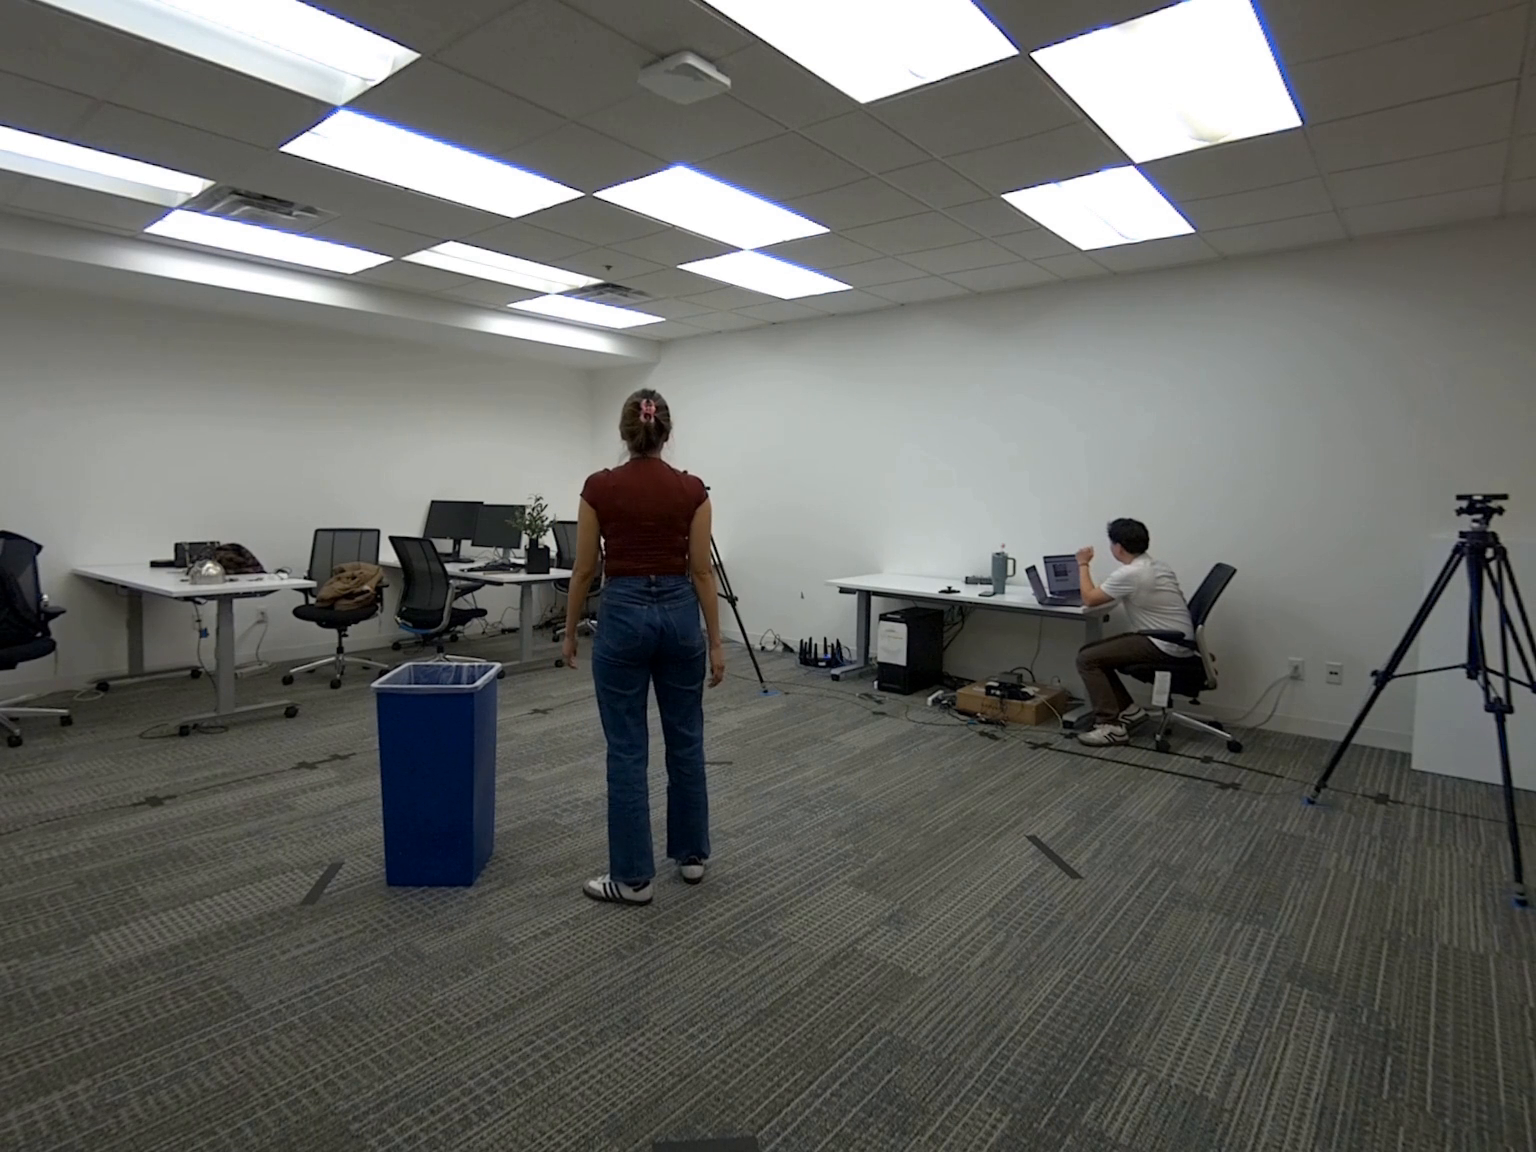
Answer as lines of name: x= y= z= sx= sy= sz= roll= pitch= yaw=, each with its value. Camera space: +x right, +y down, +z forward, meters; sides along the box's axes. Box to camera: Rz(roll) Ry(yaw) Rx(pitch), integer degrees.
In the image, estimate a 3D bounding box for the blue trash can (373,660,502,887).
blue trash can: x=-1.191 y=0.703 z=3.059 sx=0.377 sy=0.711 sz=0.376 roll=1 pitch=3 yaw=-2
